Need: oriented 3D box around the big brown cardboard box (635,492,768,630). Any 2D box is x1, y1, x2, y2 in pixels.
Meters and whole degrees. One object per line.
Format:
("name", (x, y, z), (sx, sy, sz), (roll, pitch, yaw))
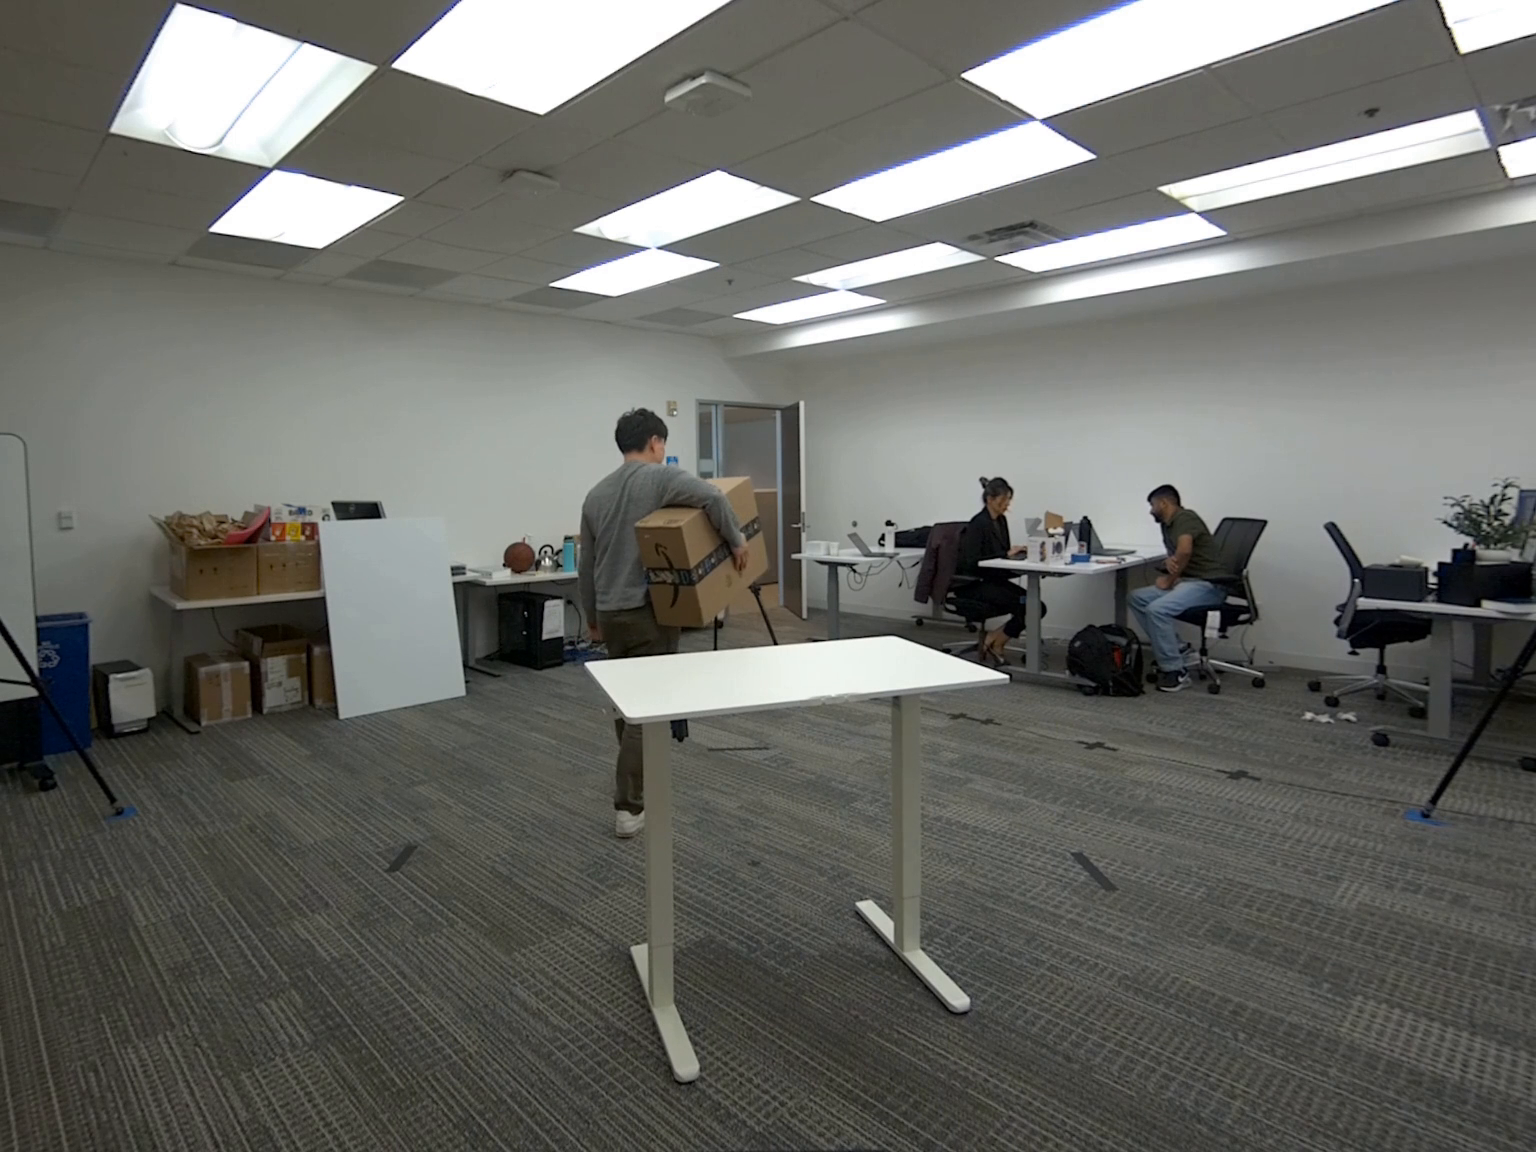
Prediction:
("big brown cardboard box", (-0.250, -0.108, 3.413), (0.239, 0.409, 0.586), (0, 22, 29))
